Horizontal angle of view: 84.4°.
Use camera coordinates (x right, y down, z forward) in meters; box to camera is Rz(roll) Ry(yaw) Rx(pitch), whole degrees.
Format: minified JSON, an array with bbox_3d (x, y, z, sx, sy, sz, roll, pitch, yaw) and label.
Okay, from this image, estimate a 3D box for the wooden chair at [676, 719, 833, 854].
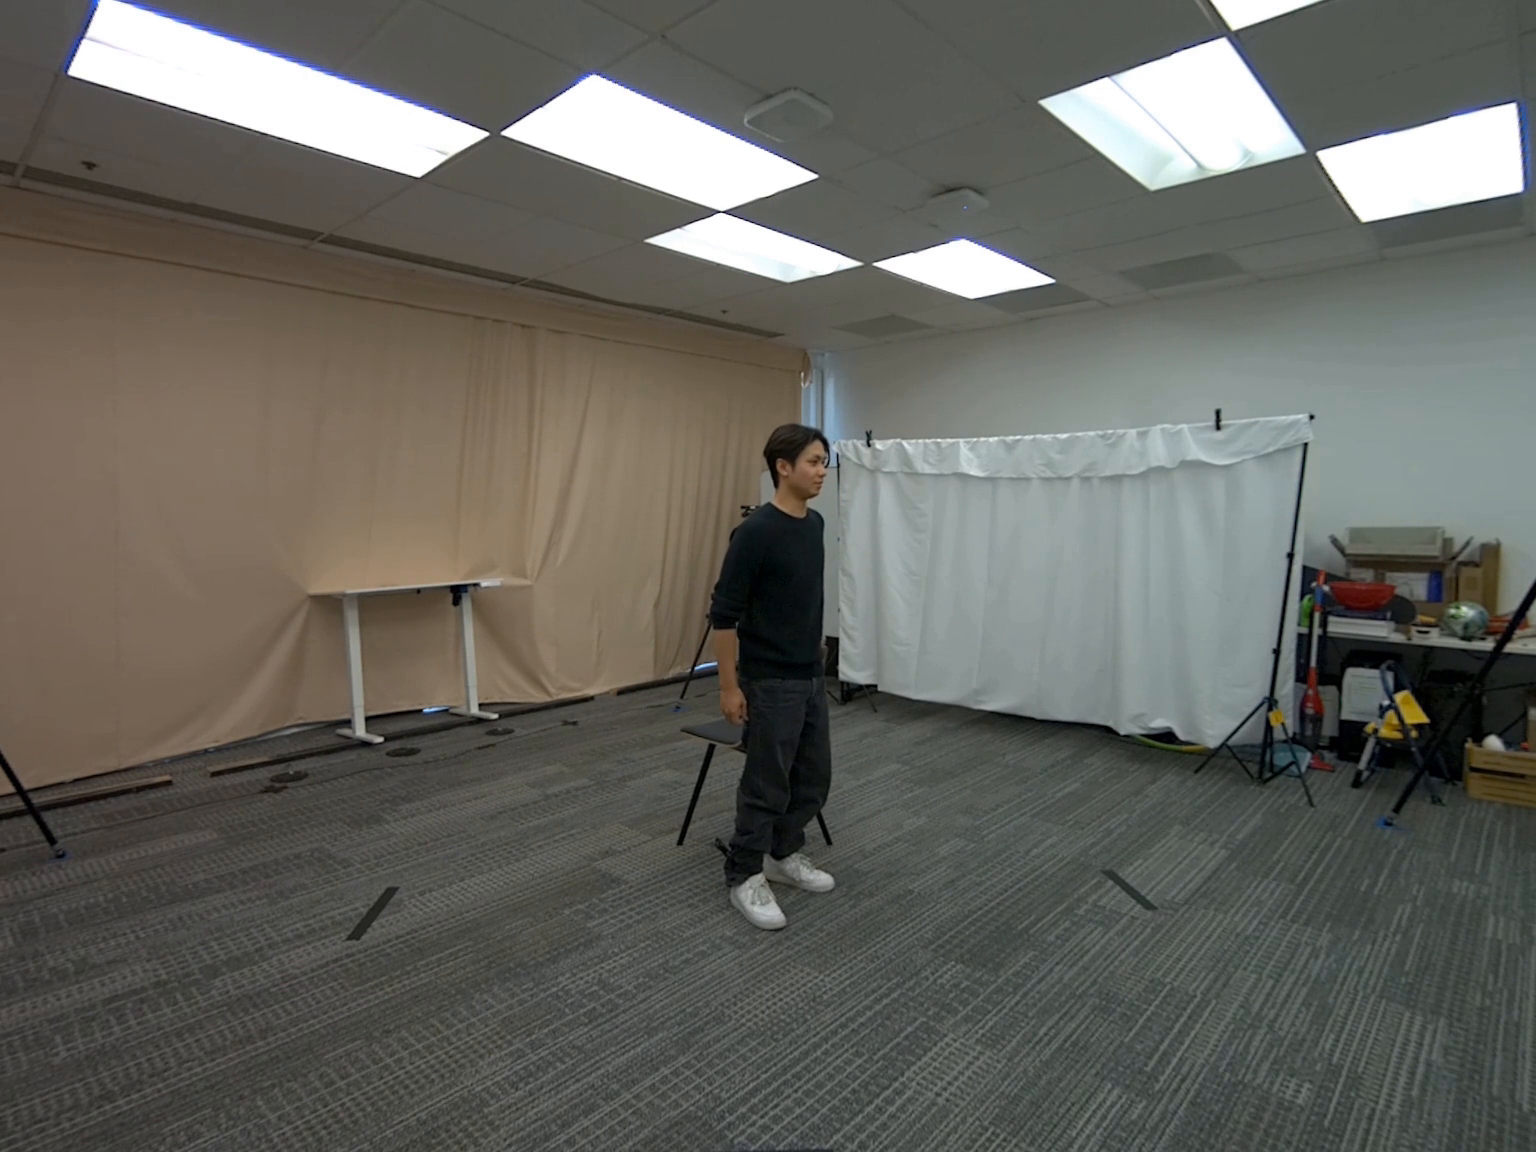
[{"bbox_3d":[-0.059,0.677,3.437,0.541,0.874,0.463,9,8,42],"label":"wooden chair"}]
